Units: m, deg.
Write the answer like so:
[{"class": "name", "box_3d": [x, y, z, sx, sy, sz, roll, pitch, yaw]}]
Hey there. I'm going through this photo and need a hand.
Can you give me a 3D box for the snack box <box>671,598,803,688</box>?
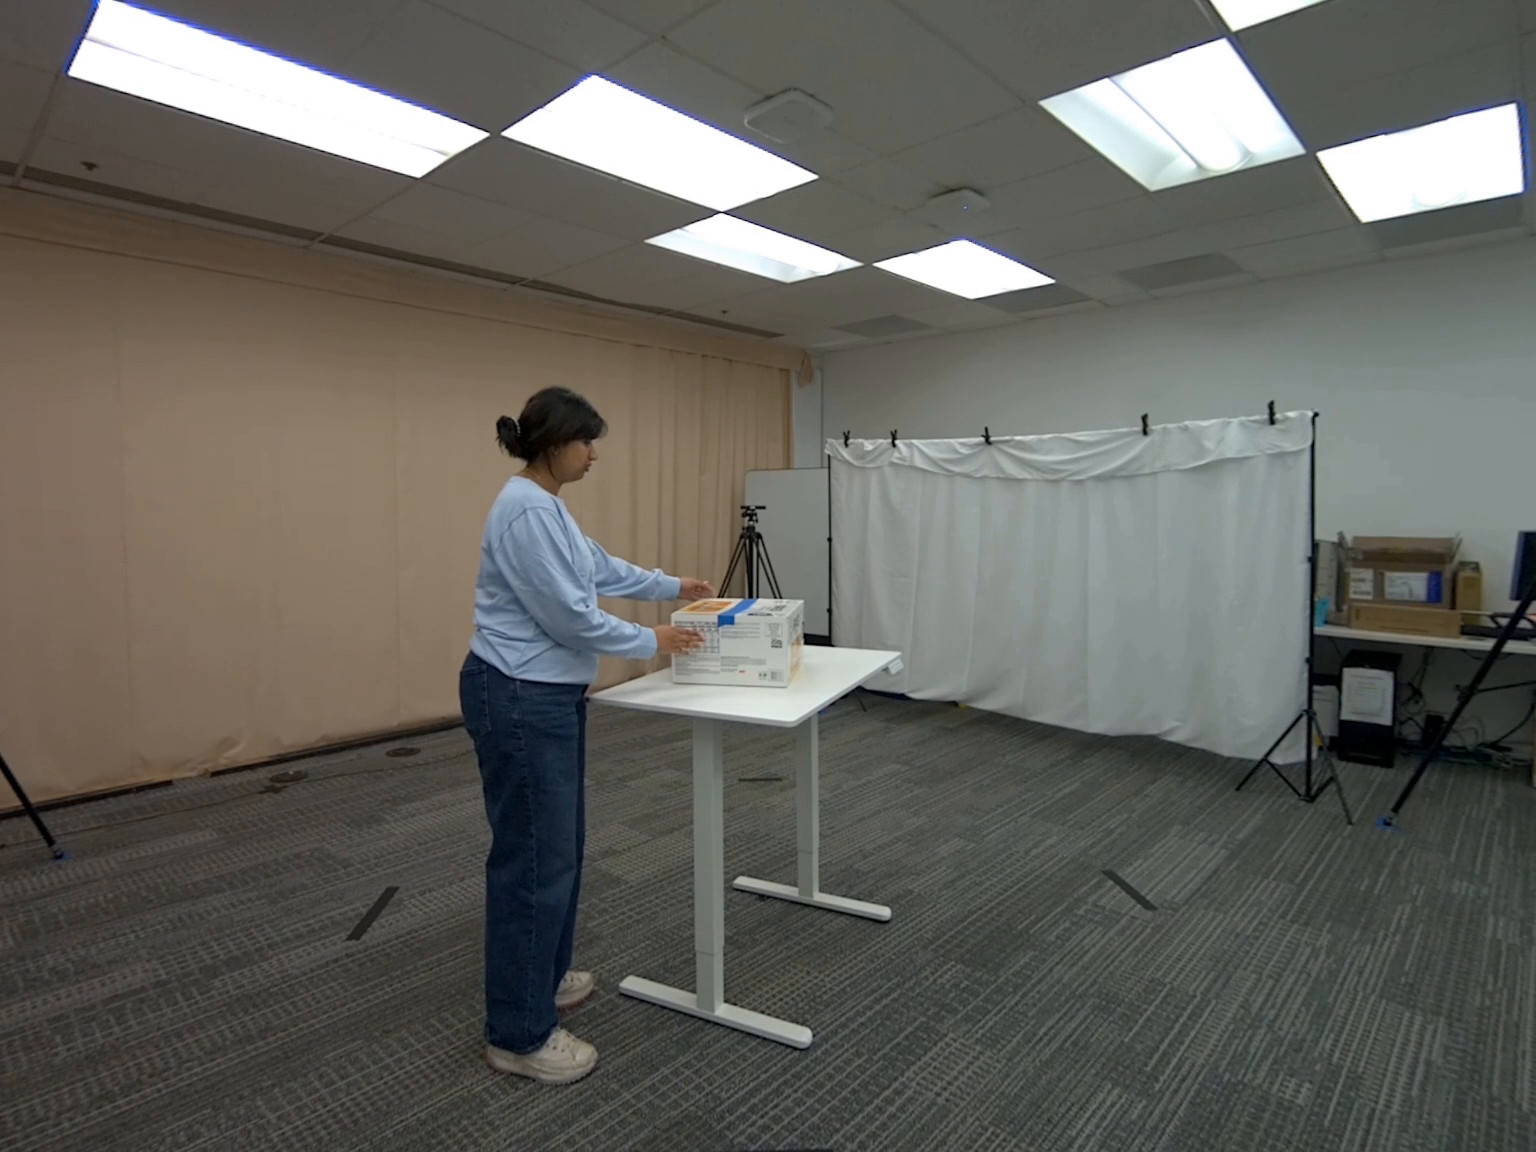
[{"class": "snack box", "box_3d": [-0.078, 0.192, 2.578, 0.345, 0.205, 0.401, -1, 5, 11]}]
